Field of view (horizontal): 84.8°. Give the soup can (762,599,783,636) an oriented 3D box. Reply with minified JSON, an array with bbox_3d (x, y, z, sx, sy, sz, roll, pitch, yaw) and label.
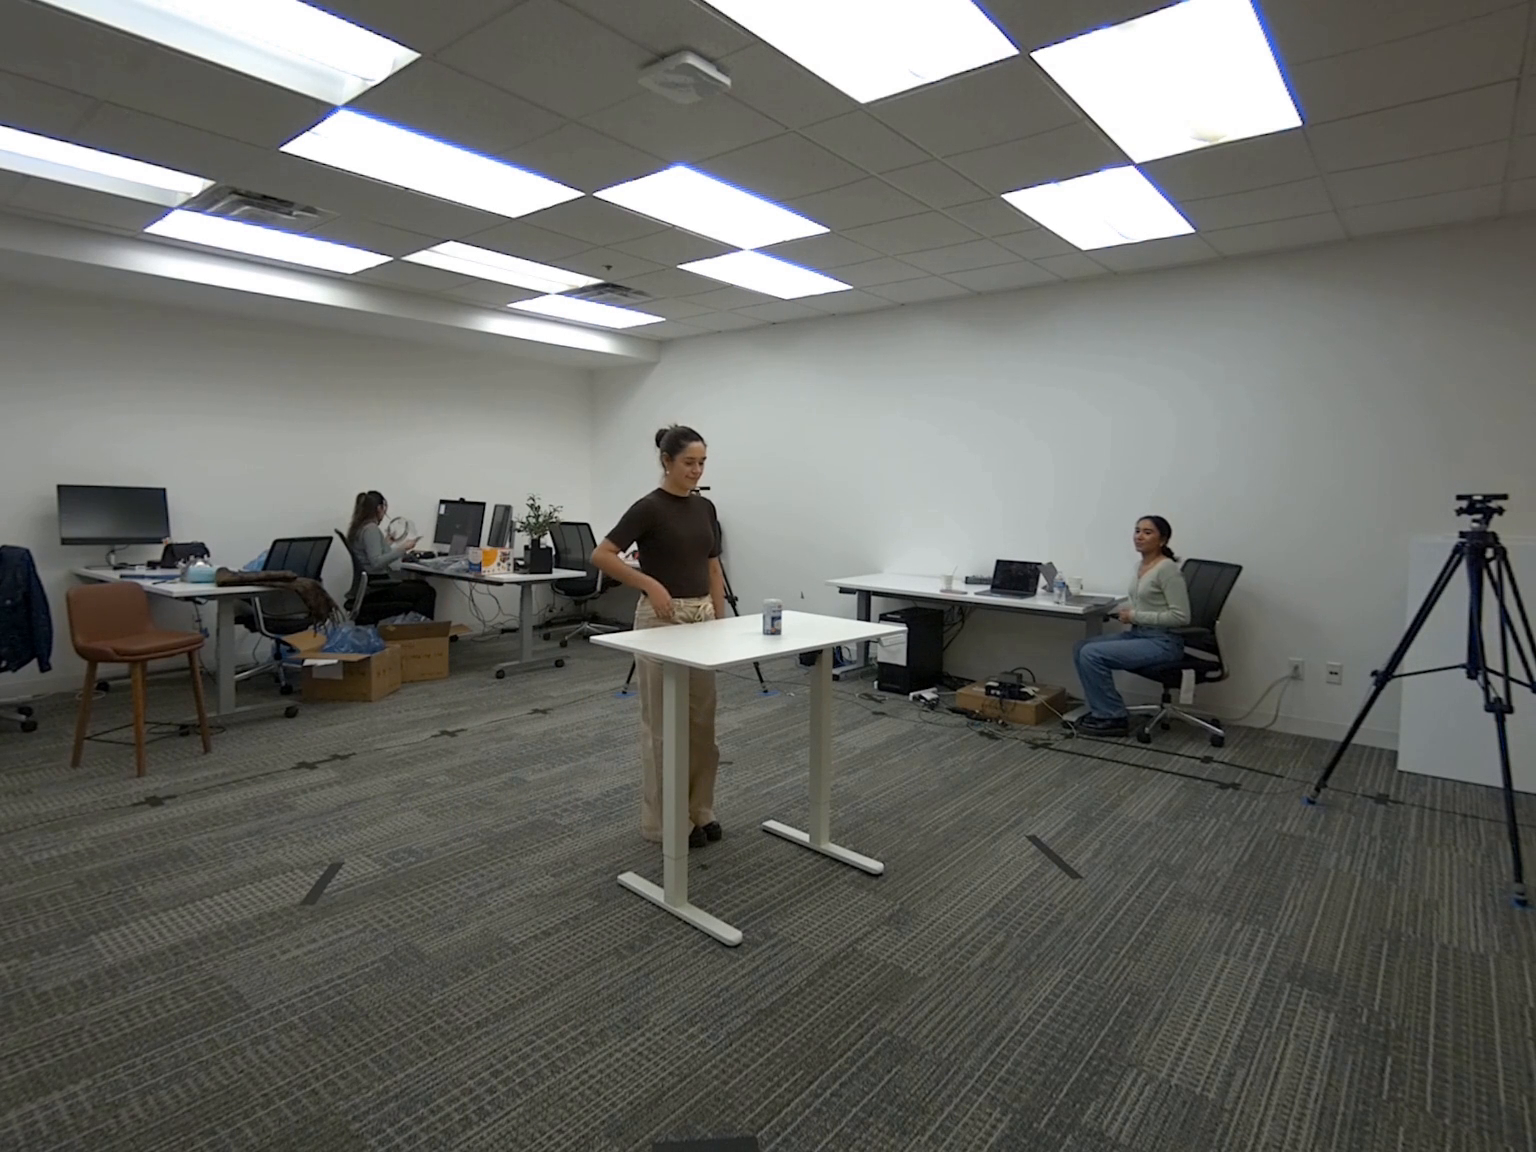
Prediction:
[{"bbox_3d":[0.009,0.143,2.962,0.067,0.121,0.067,-2,5,-2],"label":"soup can"}]
